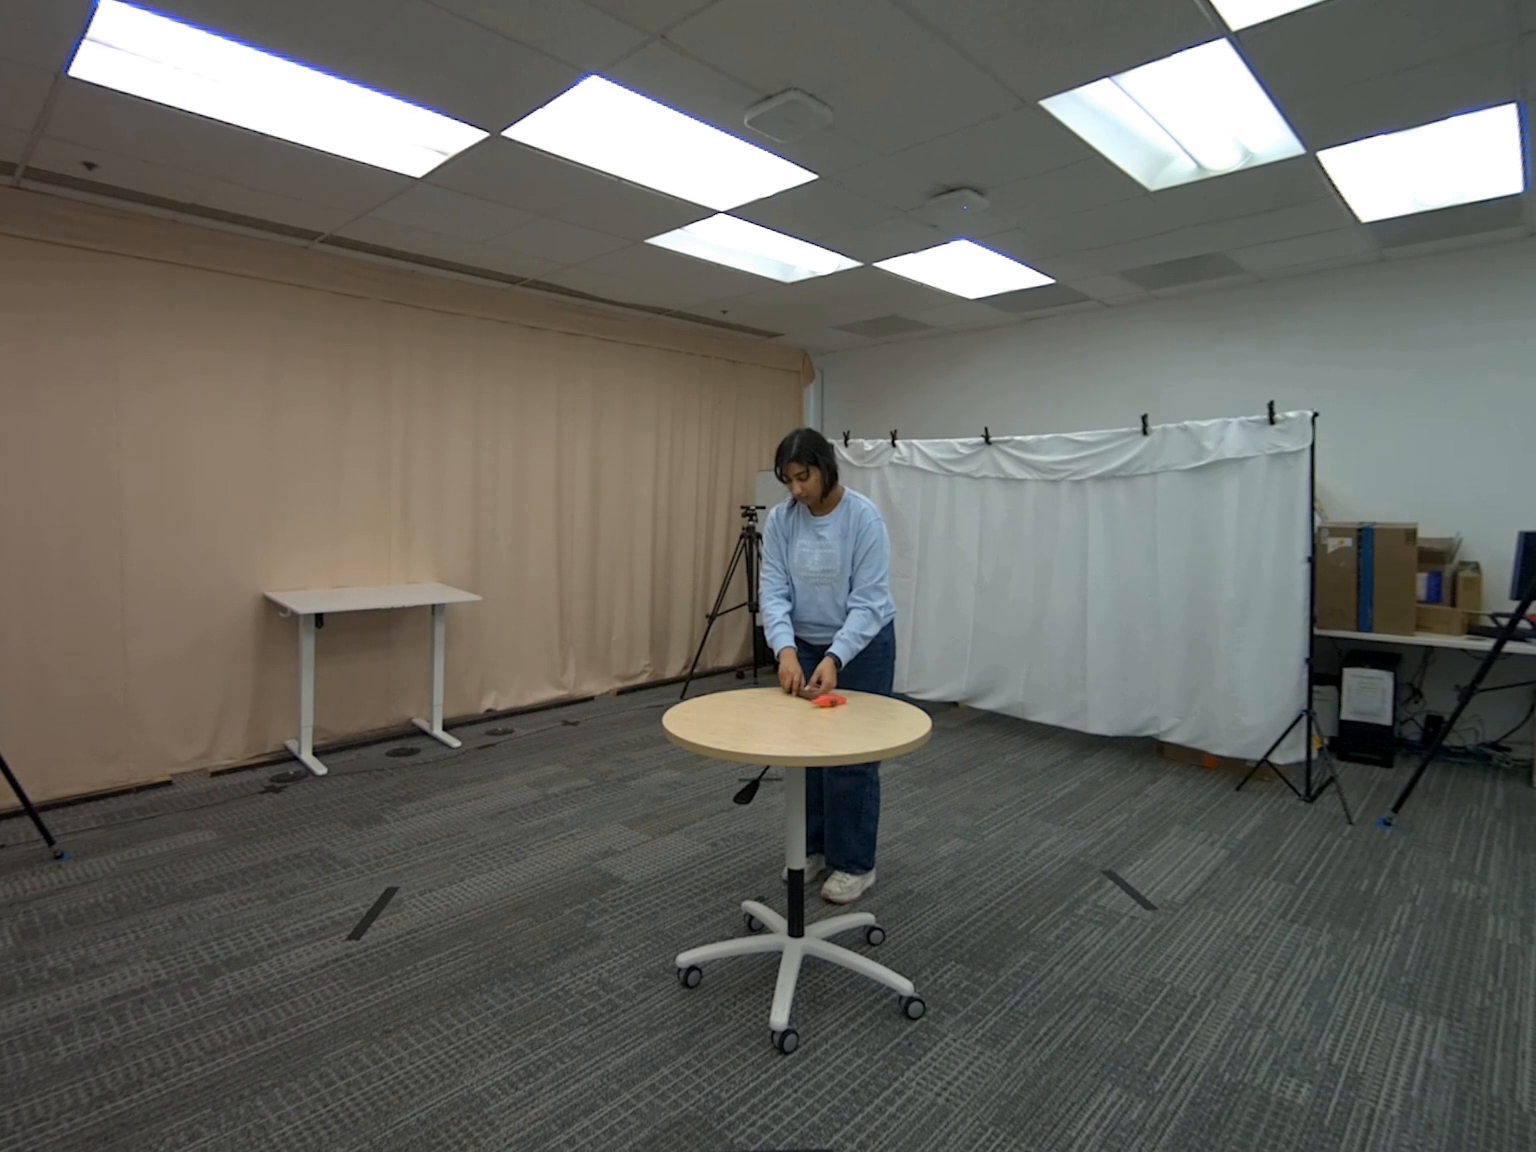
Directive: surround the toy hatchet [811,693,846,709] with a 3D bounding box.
[{"bbox_3d":[0.172,0.372,2.652,0.129,0.029,0.274,1,3,-13],"label":"toy hatchet"}]
